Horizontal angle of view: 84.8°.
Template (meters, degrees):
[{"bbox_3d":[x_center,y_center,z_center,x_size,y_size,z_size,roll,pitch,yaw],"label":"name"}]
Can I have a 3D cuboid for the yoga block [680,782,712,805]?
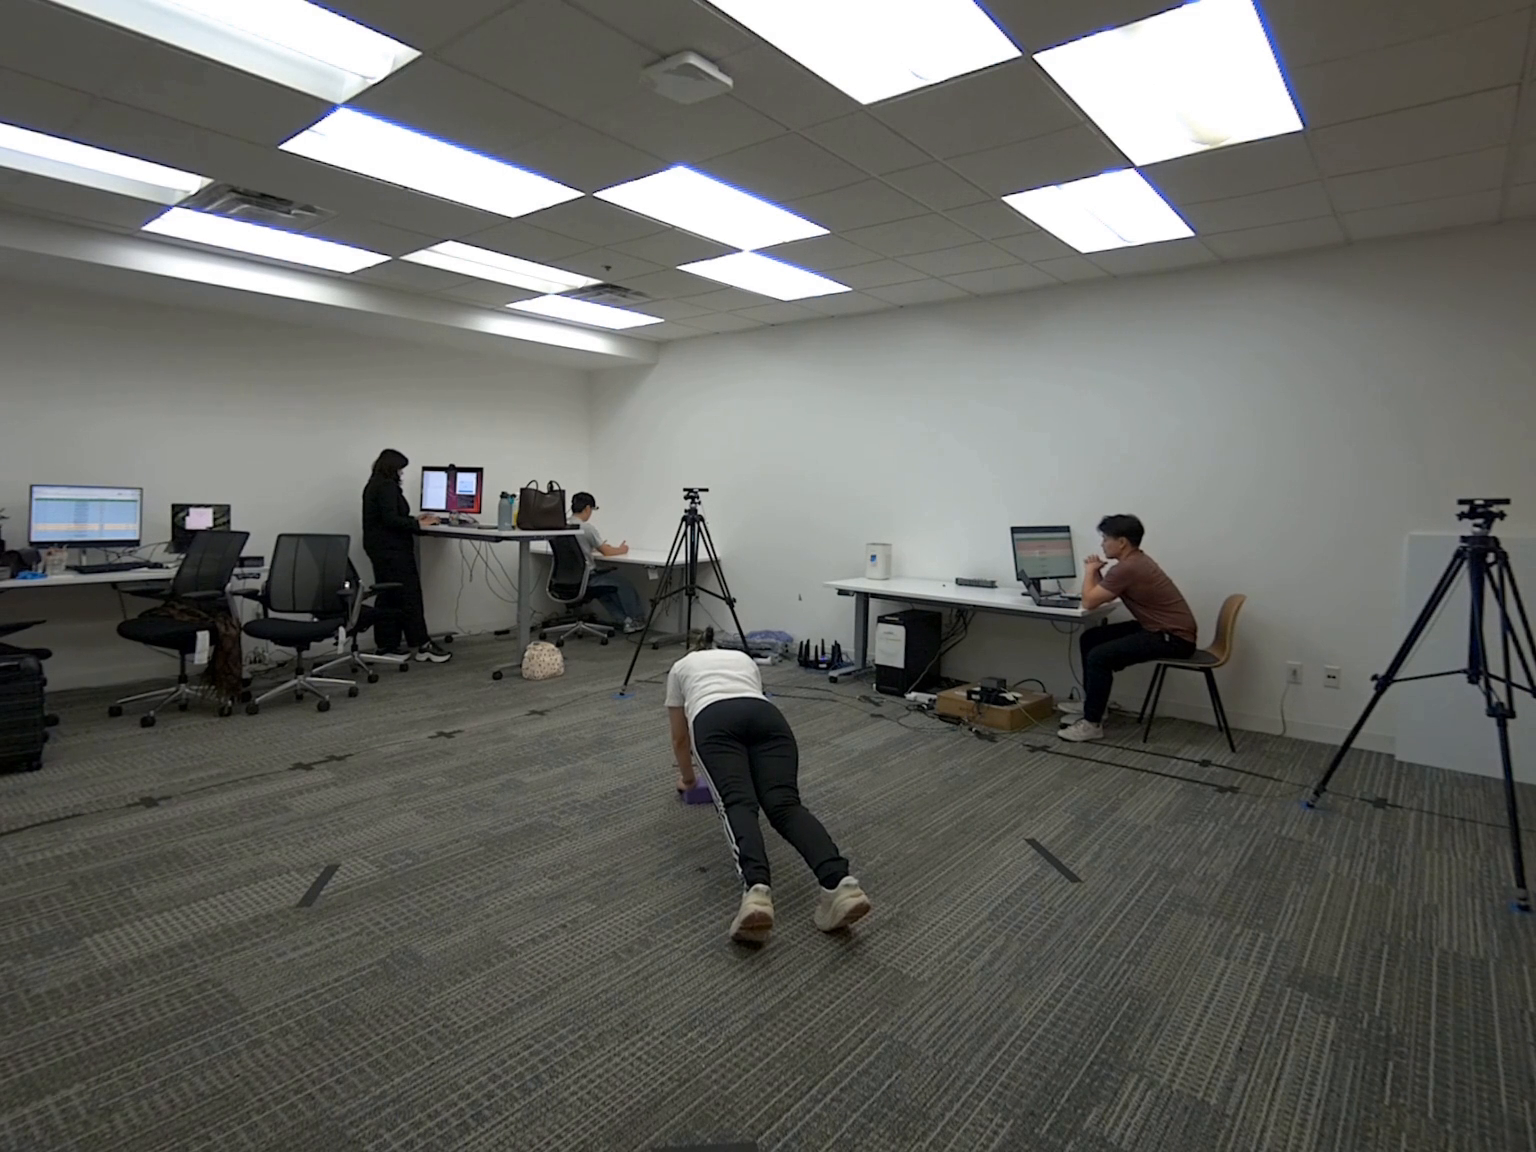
[{"bbox_3d":[-0.272,0.956,3.835,0.226,0.076,0.152,-2,6,-14],"label":"yoga block"}]
